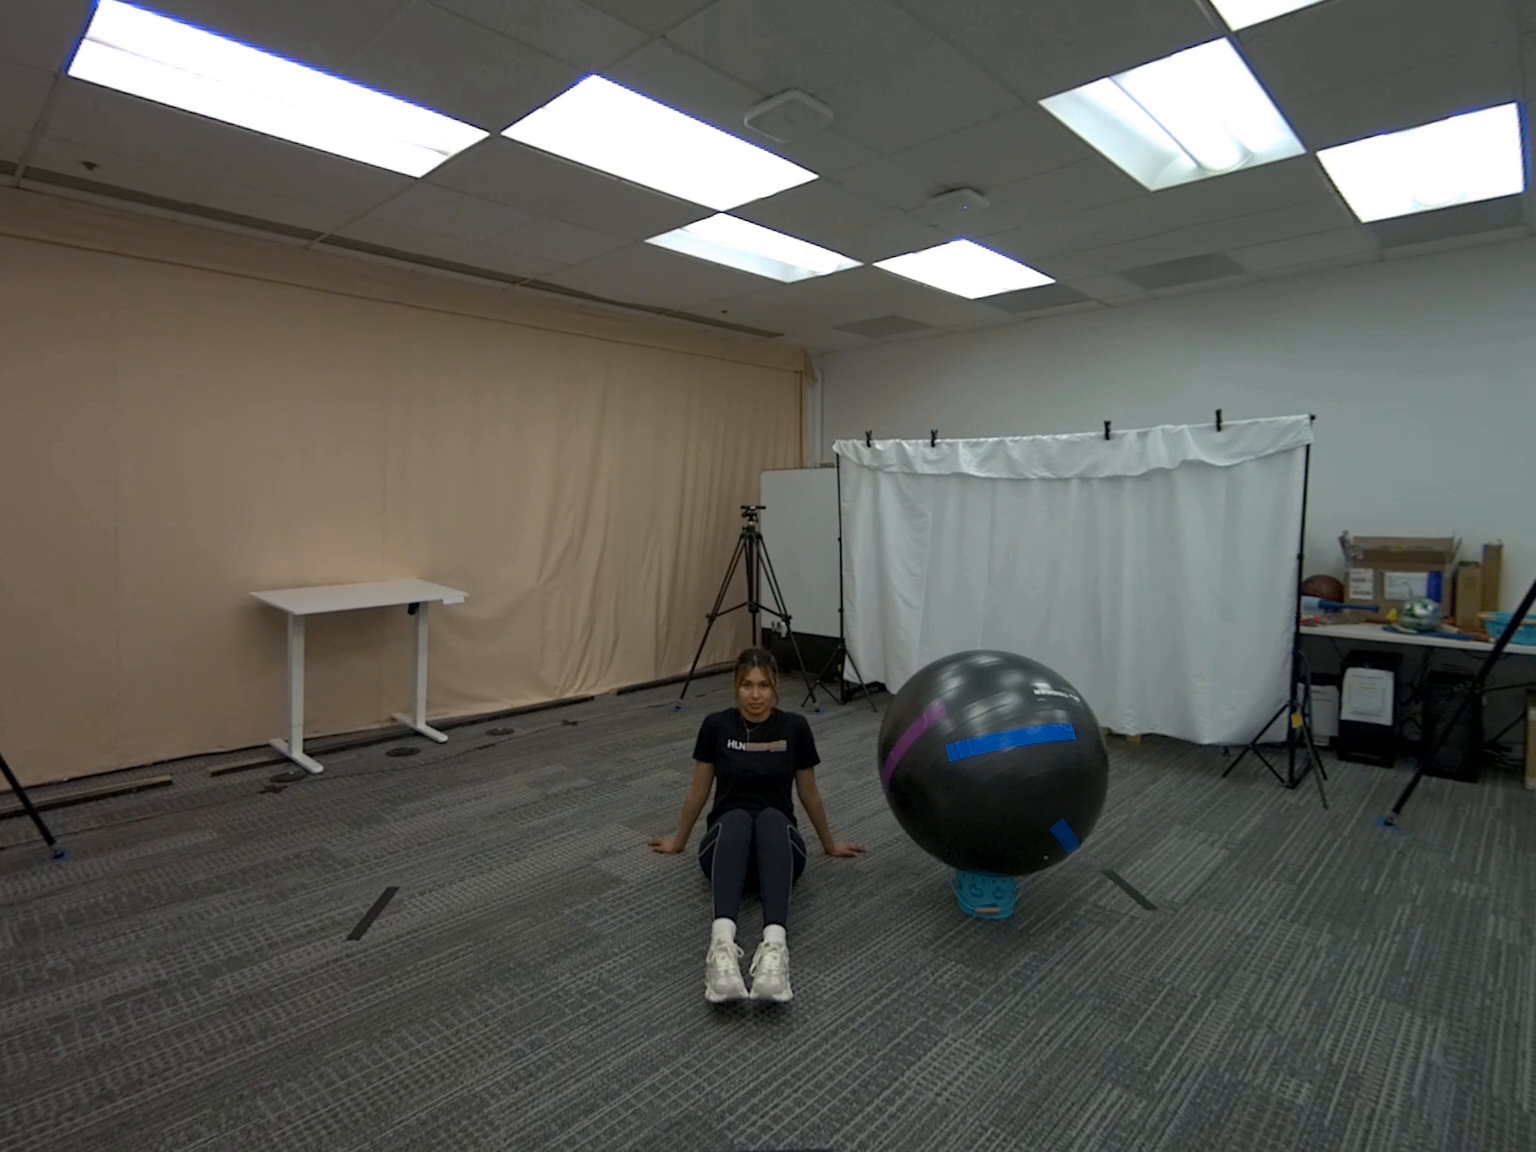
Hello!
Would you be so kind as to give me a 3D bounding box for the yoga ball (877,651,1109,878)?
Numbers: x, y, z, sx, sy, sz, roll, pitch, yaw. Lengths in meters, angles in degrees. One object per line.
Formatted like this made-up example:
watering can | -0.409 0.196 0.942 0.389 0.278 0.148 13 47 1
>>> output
yoga ball | 0.767 0.640 2.904 0.757 0.756 0.760 0 4 -2
